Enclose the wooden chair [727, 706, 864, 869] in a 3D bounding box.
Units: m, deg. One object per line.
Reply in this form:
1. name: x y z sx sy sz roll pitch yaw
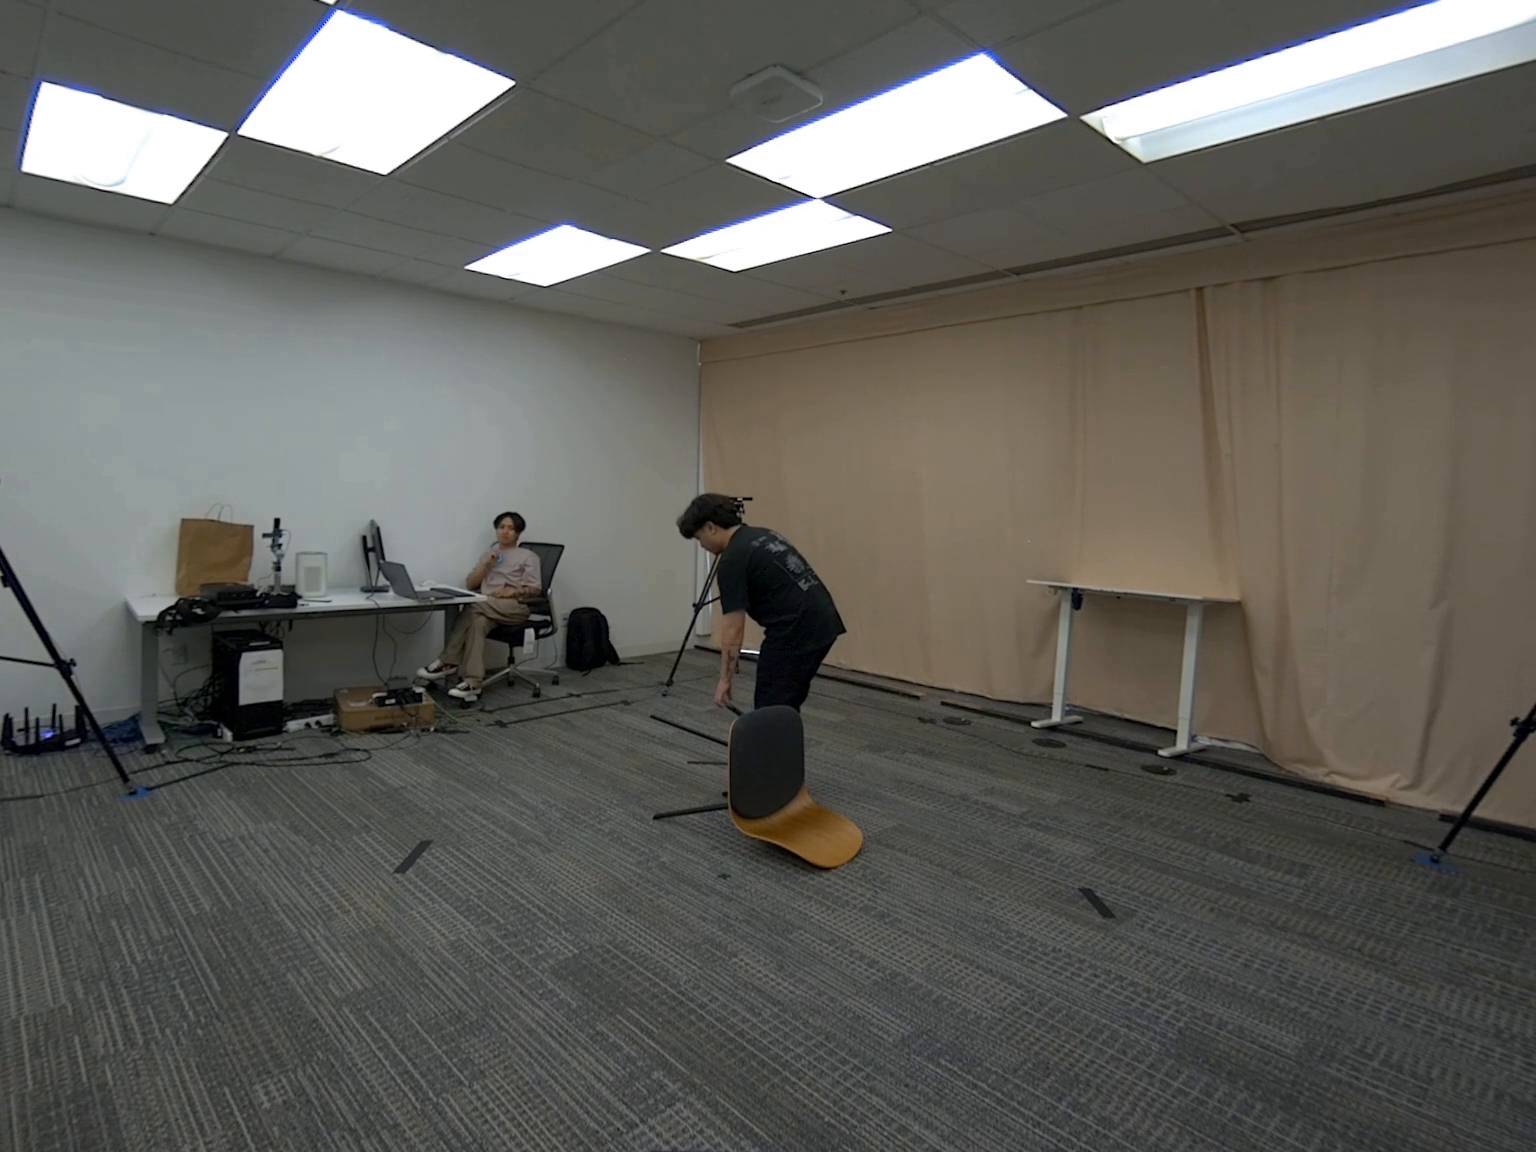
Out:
1. wooden chair: -0.043 0.819 3.506 0.900 0.521 0.467 7 6 42
